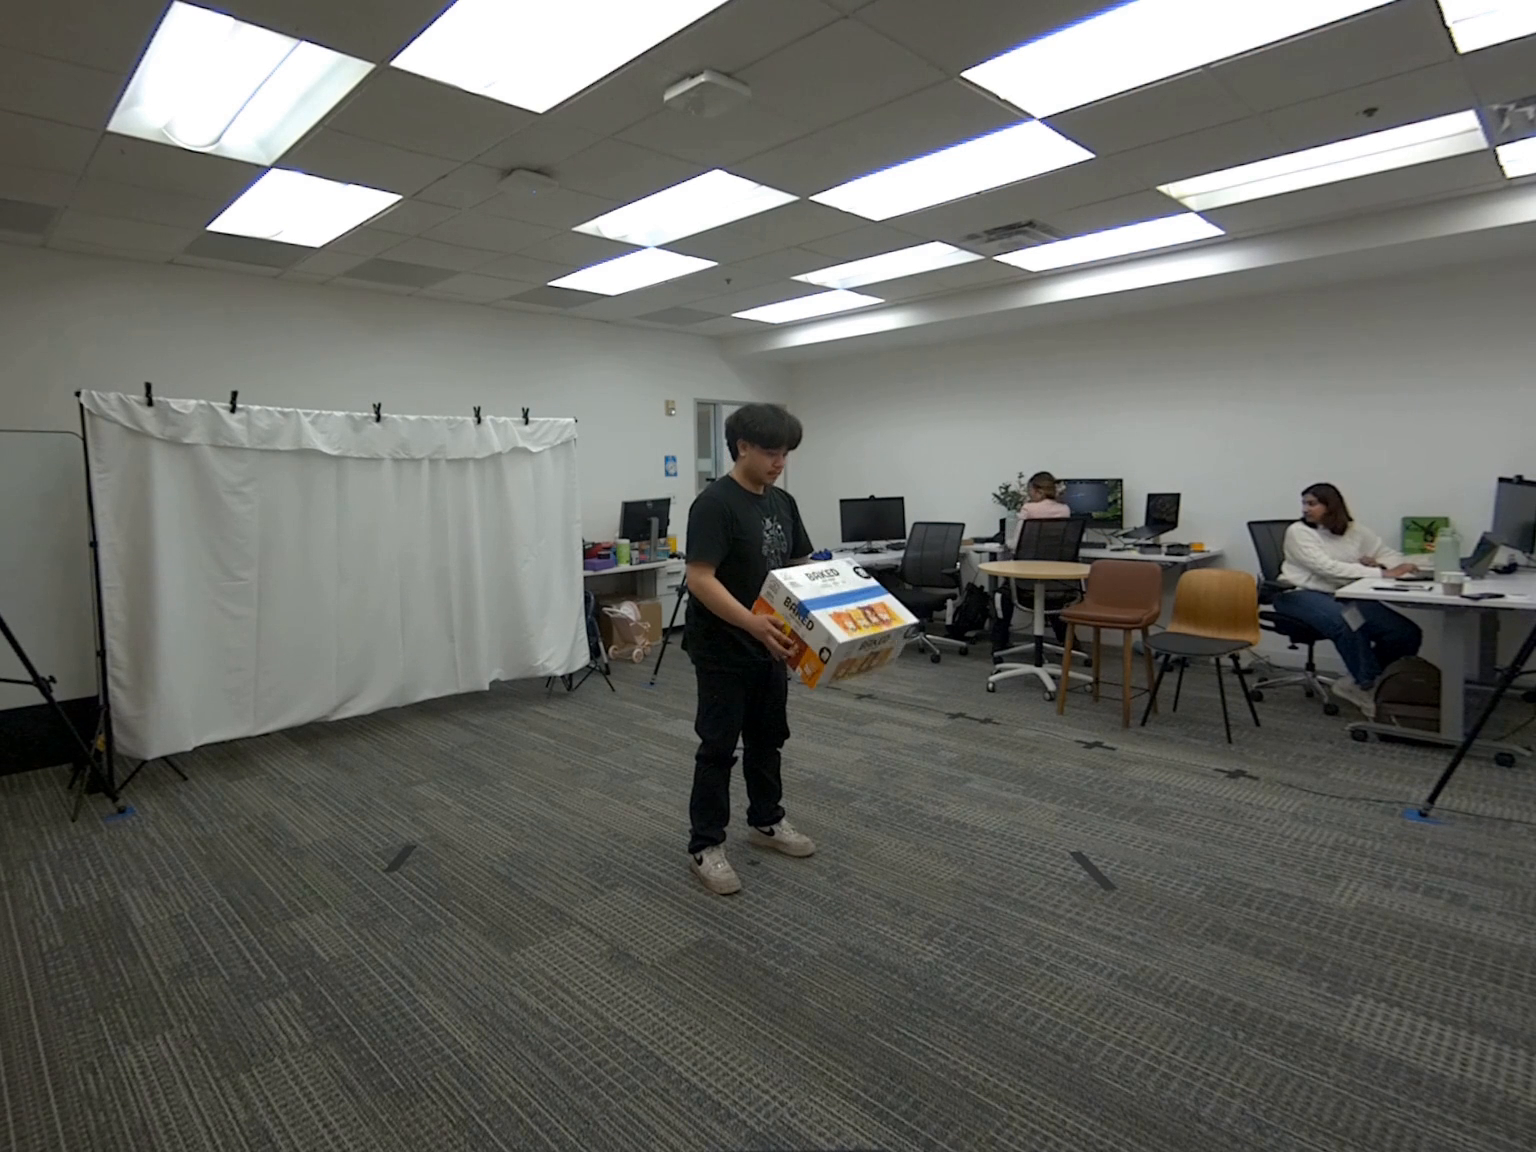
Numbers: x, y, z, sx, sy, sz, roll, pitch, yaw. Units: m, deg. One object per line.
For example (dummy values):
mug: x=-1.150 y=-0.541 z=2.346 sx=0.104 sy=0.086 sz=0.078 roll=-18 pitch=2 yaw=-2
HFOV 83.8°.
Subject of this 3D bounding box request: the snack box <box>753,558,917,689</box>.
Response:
snack box: x=0.204 y=0.146 z=2.777 sx=0.395 sy=0.203 sz=0.353 roll=-9 pitch=44 yaw=-43
